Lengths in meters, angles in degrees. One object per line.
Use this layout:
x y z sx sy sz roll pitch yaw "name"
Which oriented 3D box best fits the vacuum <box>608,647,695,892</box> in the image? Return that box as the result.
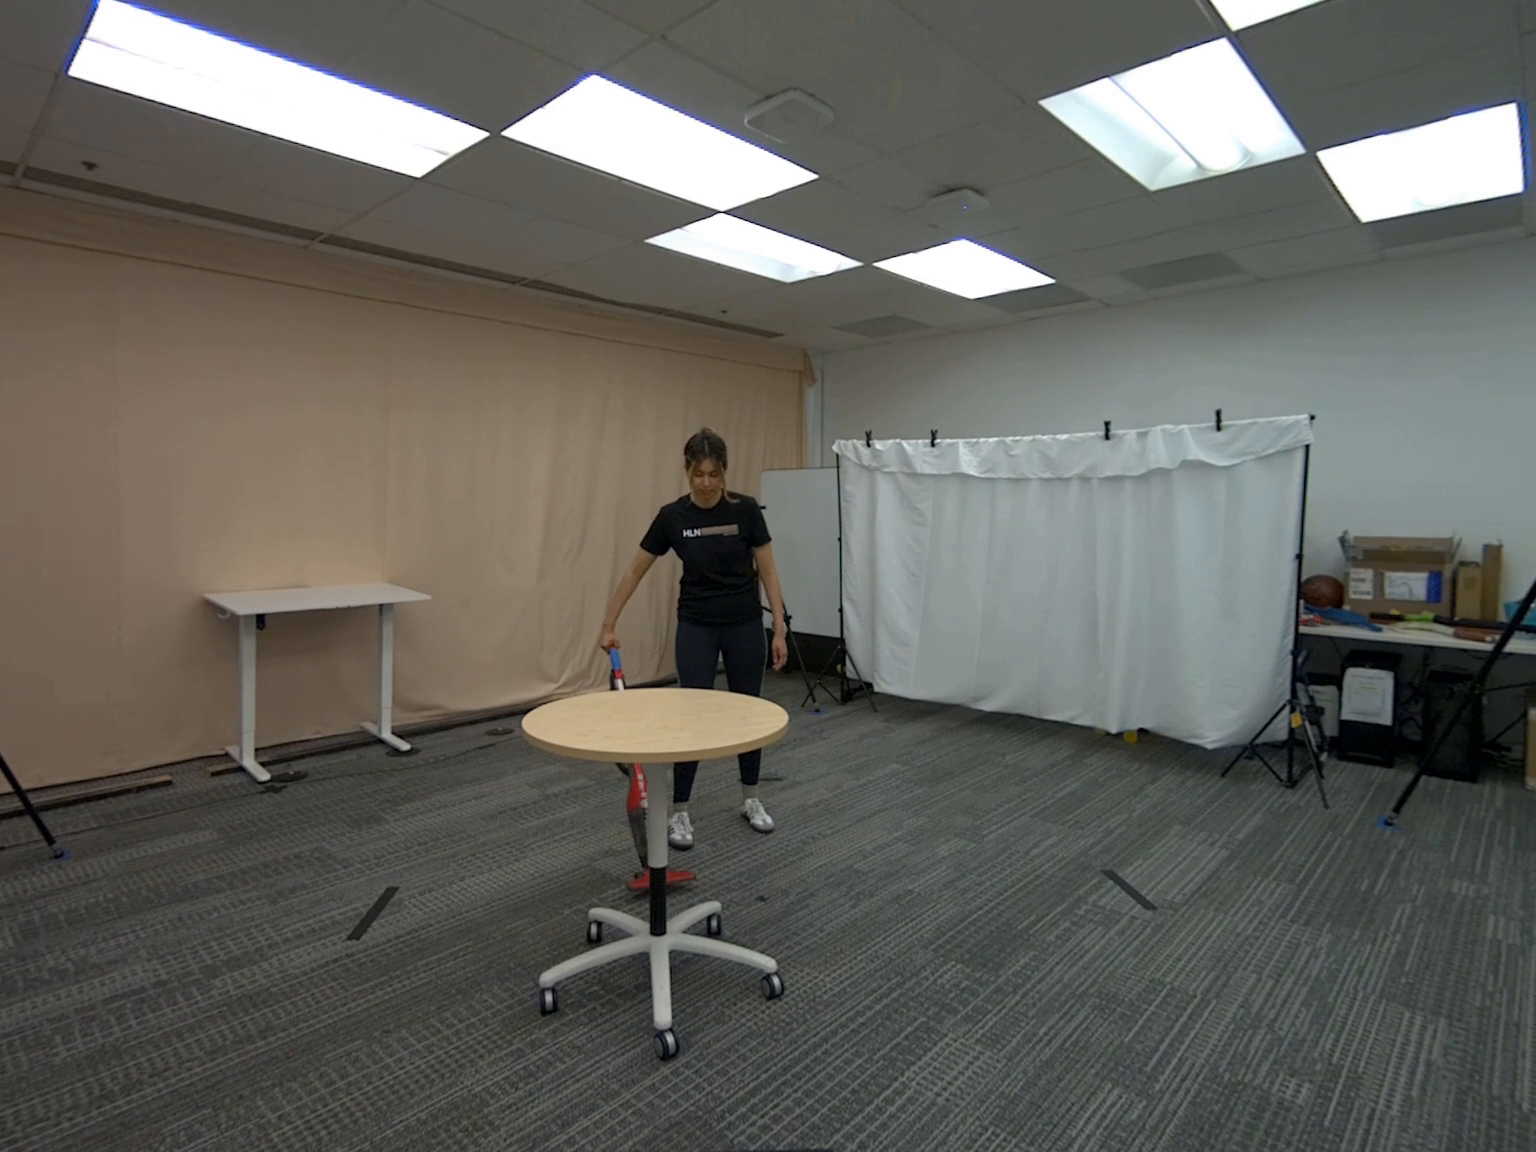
-0.541 0.702 3.338 0.247 1.077 0.143 -4 -37 -21 "vacuum"
